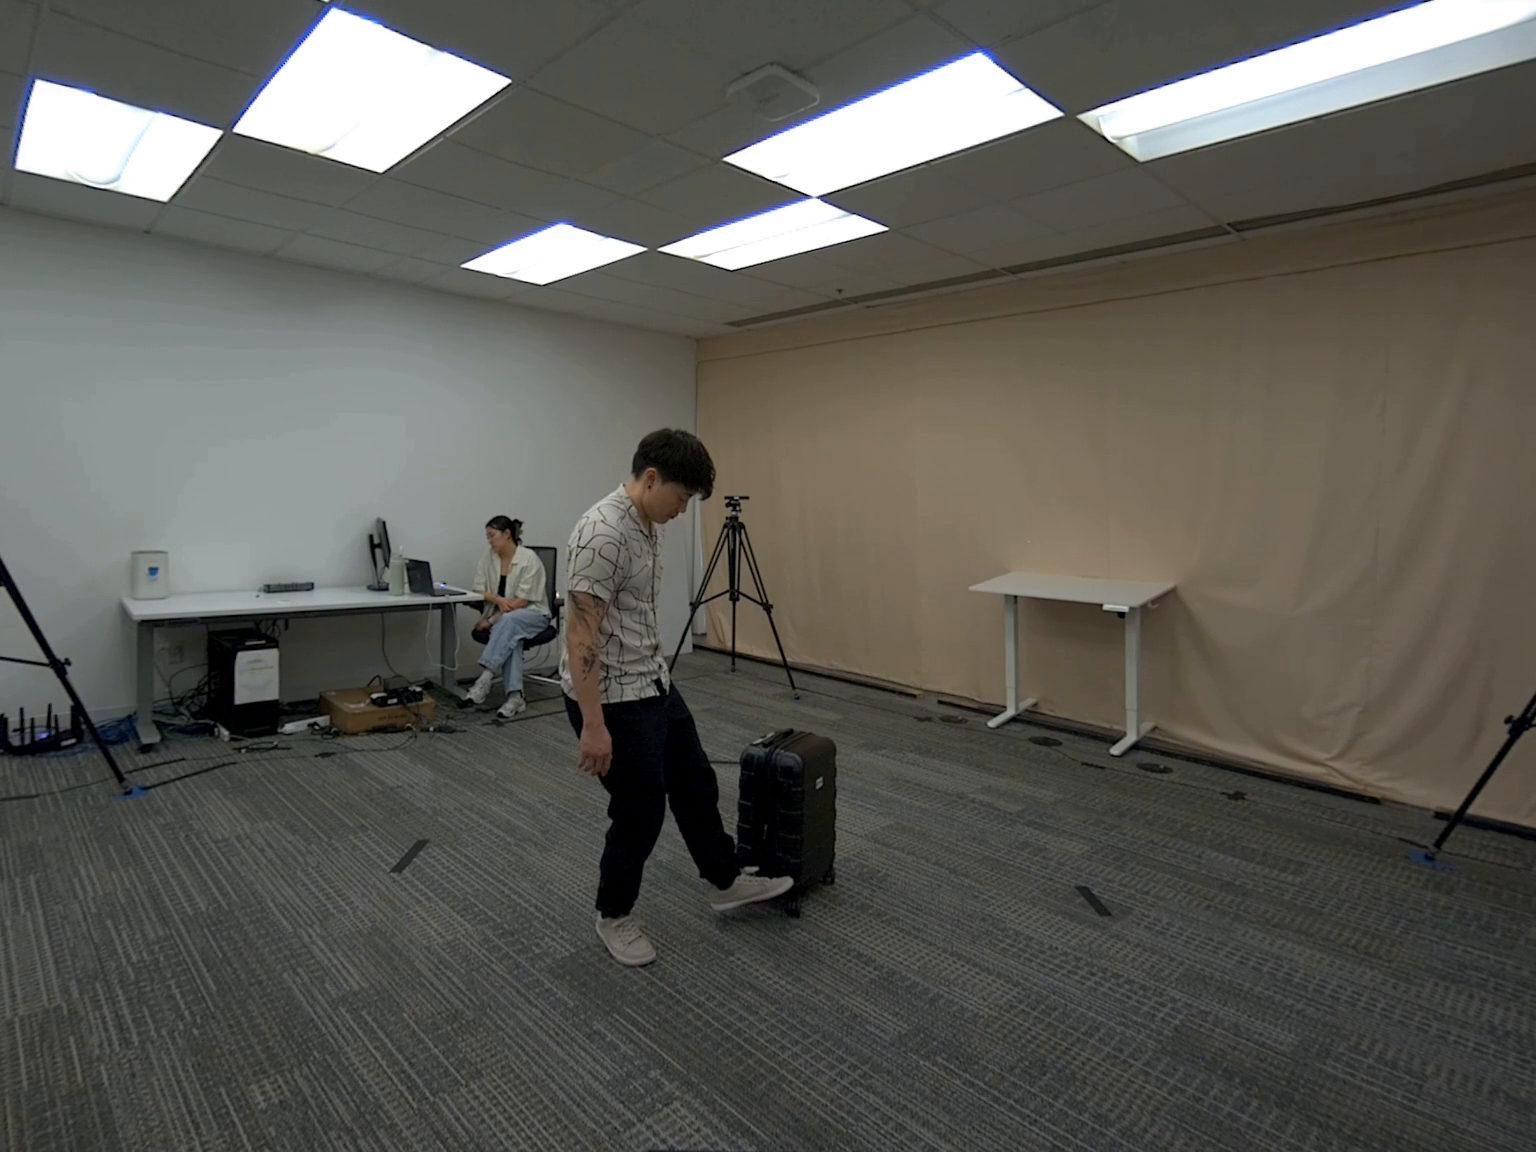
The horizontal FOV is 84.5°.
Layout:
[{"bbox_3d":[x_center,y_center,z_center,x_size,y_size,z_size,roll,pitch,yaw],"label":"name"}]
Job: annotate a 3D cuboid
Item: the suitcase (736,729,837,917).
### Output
[{"bbox_3d":[0.067,0.842,2.992,0.253,0.548,0.368,3,2,28],"label":"suitcase"}]
